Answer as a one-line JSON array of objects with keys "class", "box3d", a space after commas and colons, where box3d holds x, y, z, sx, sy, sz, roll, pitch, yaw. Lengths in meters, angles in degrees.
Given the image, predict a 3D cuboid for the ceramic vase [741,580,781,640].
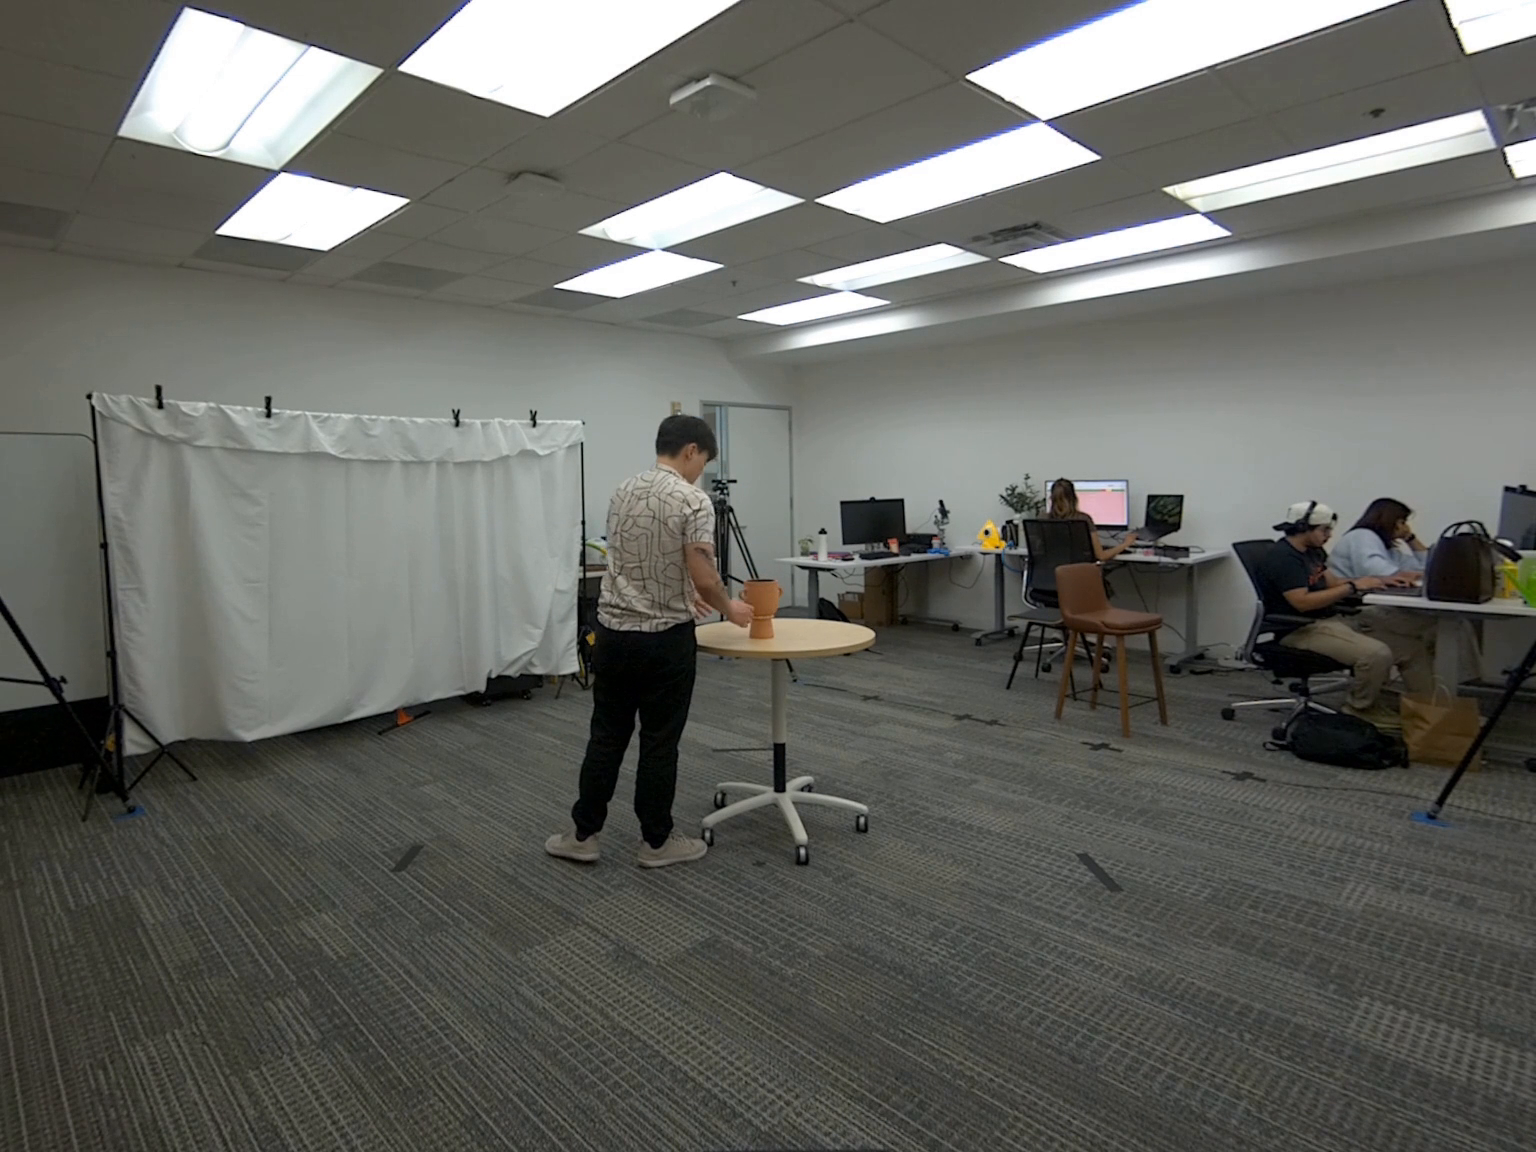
[{"class": "ceramic vase", "box3d": [-0.028, 0.130, 3.330, 0.160, 0.219, 0.134, 1, 4, 8]}]
